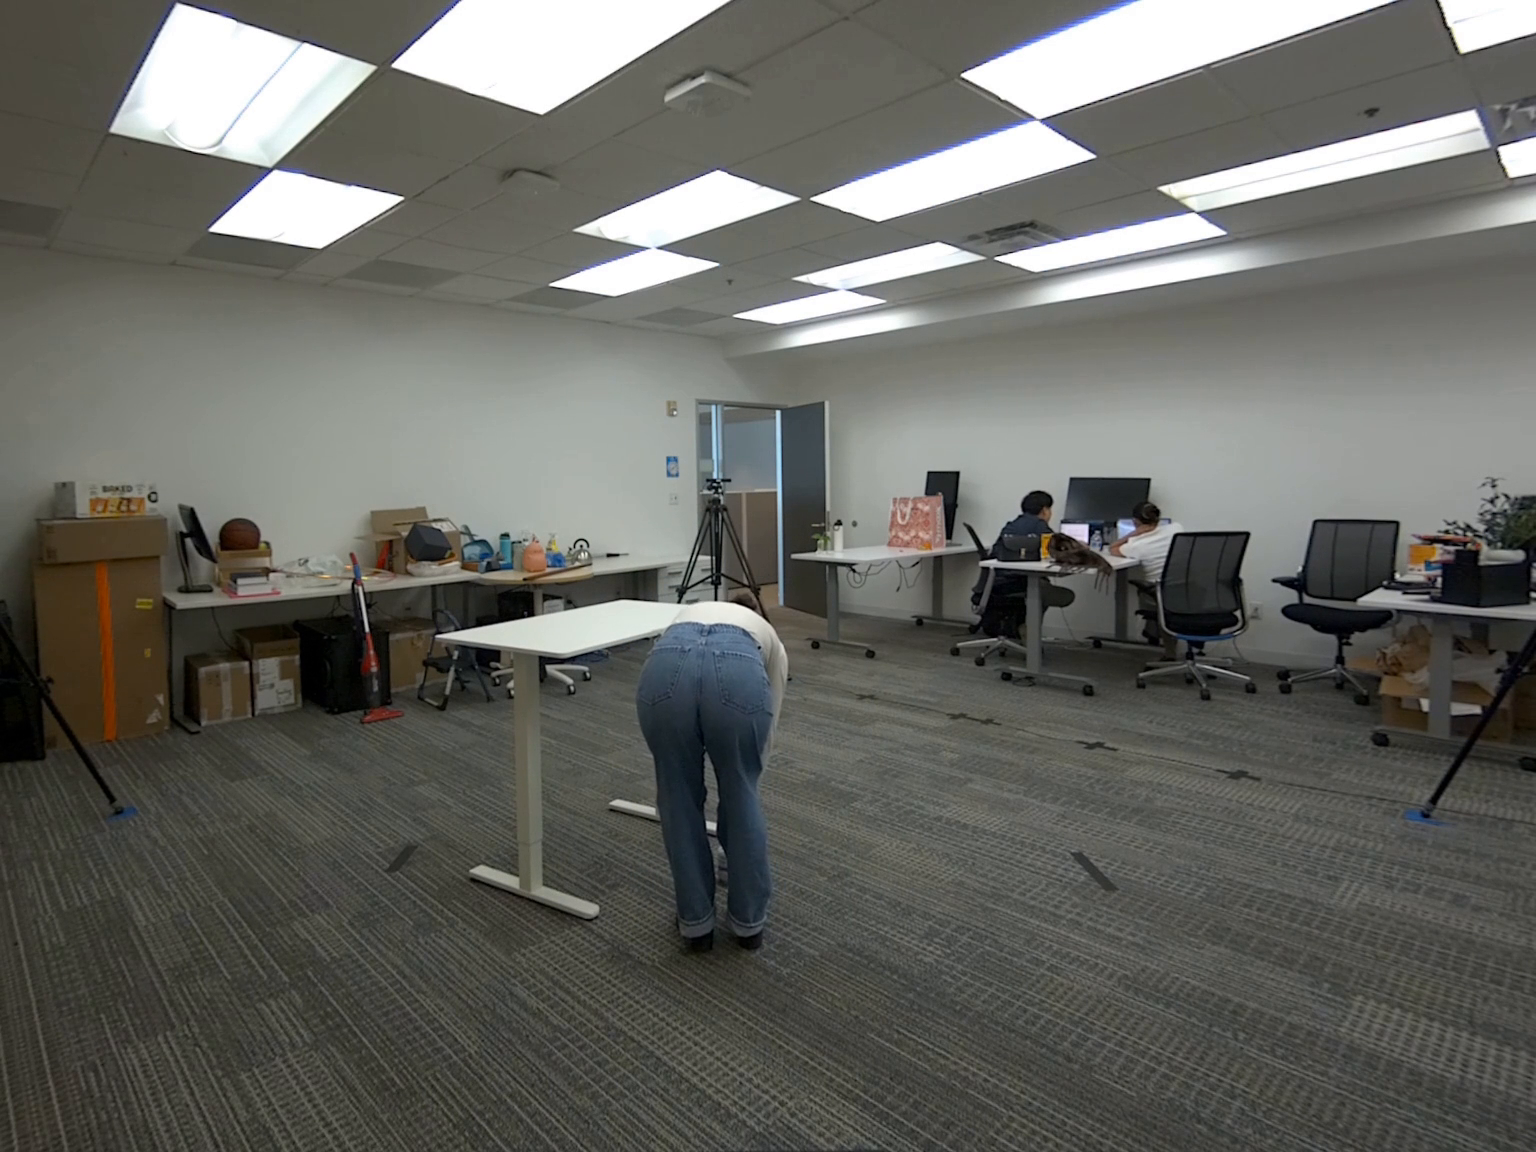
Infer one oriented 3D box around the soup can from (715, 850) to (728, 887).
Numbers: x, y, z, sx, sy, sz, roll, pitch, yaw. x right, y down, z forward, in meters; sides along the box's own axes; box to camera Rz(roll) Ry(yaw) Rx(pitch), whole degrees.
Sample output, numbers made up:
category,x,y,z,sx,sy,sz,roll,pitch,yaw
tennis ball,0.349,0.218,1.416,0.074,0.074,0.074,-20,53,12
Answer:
category,x,y,z,sx,sy,sz,roll,pitch,yaw
soup can,-0.136,1.013,2.963,0.067,0.121,0.067,0,3,-2
